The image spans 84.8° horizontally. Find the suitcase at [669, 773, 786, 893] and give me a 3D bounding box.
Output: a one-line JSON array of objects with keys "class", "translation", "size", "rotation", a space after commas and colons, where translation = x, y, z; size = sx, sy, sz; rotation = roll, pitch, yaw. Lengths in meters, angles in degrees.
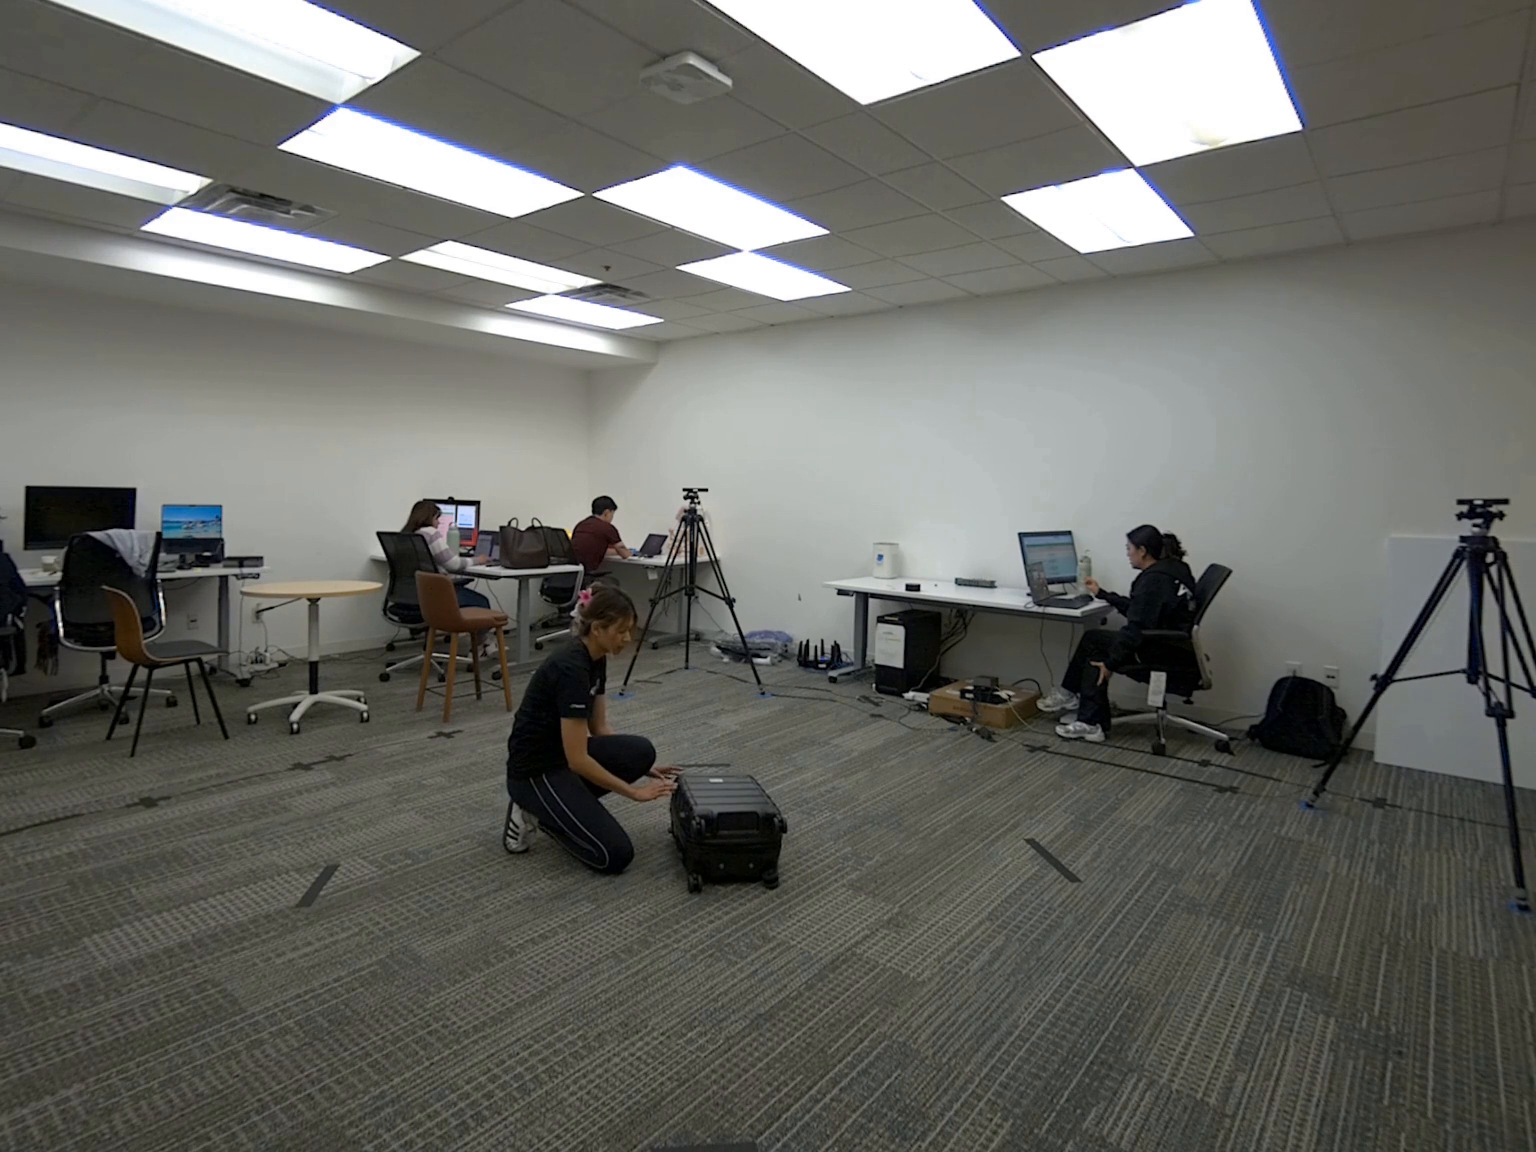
[{"class": "suitcase", "translation": [-0.231, 0.909, 3.404], "size": [0.379, 0.256, 0.997], "rotation": [1, 6, -14]}]
